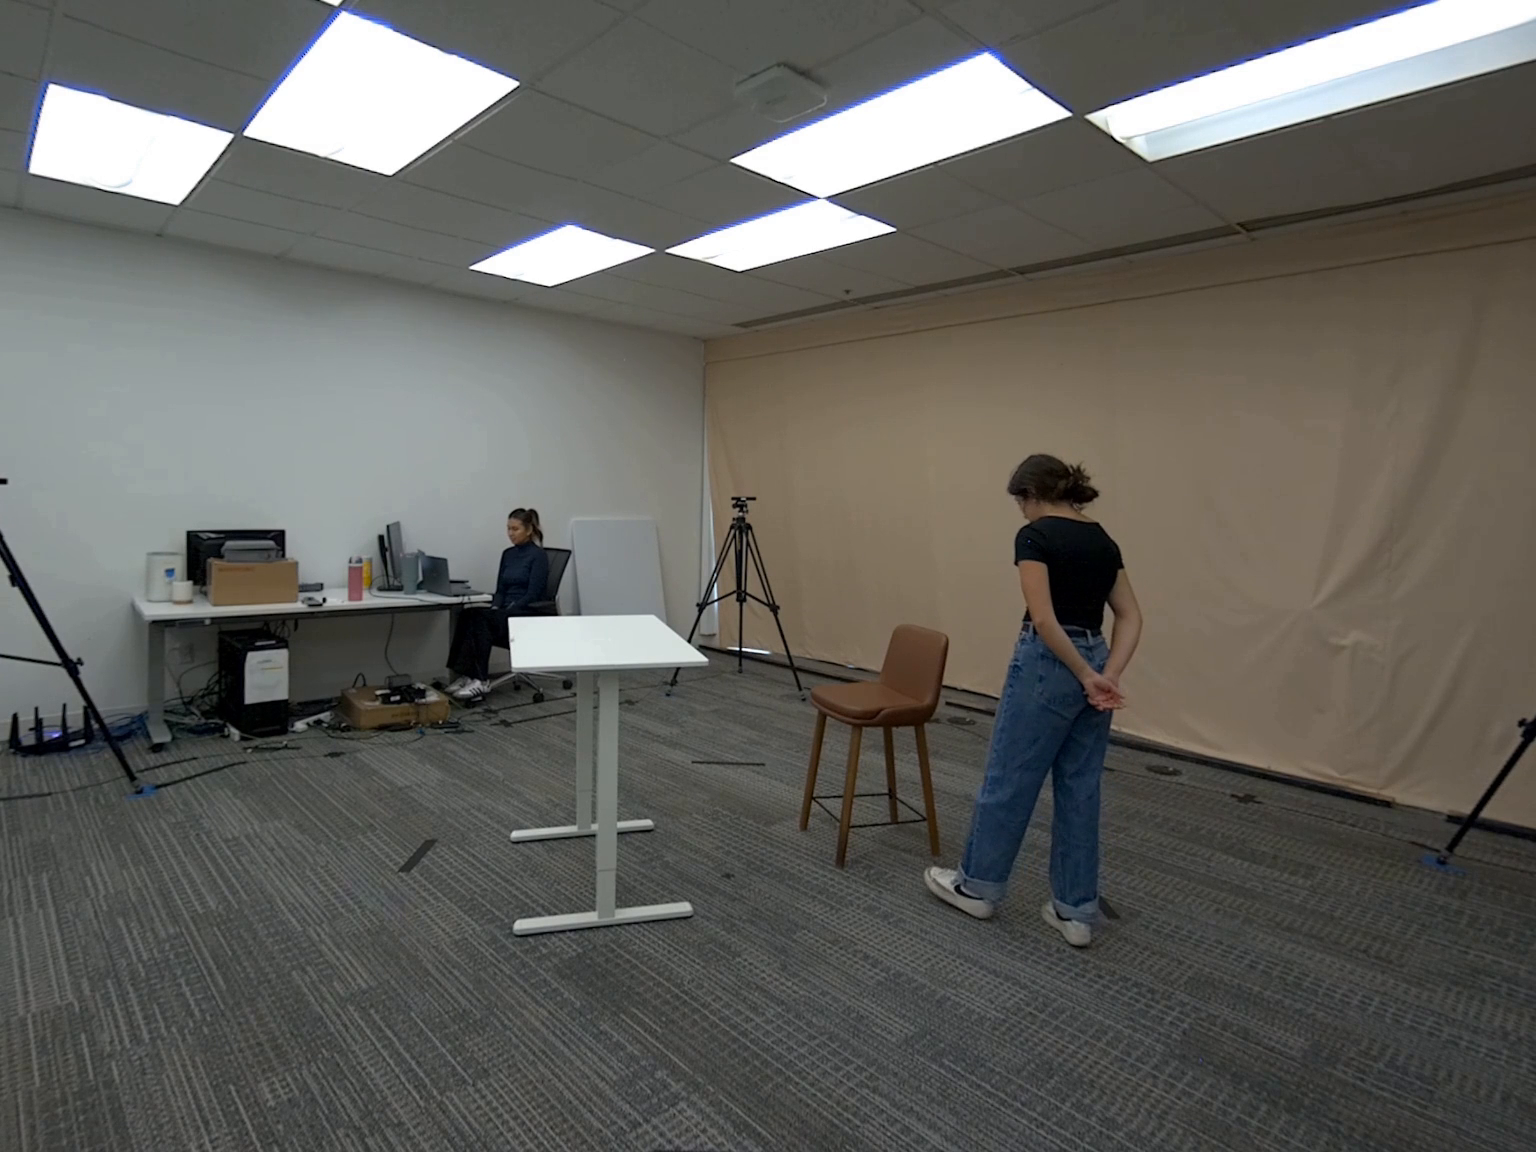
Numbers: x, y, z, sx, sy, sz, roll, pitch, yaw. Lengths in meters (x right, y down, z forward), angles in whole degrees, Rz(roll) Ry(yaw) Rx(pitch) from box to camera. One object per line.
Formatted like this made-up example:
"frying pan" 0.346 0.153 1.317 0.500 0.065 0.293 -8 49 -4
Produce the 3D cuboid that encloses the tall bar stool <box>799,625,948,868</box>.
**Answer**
"tall bar stool" 0.417 0.658 3.426 0.461 0.888 0.464 2 3 -19
